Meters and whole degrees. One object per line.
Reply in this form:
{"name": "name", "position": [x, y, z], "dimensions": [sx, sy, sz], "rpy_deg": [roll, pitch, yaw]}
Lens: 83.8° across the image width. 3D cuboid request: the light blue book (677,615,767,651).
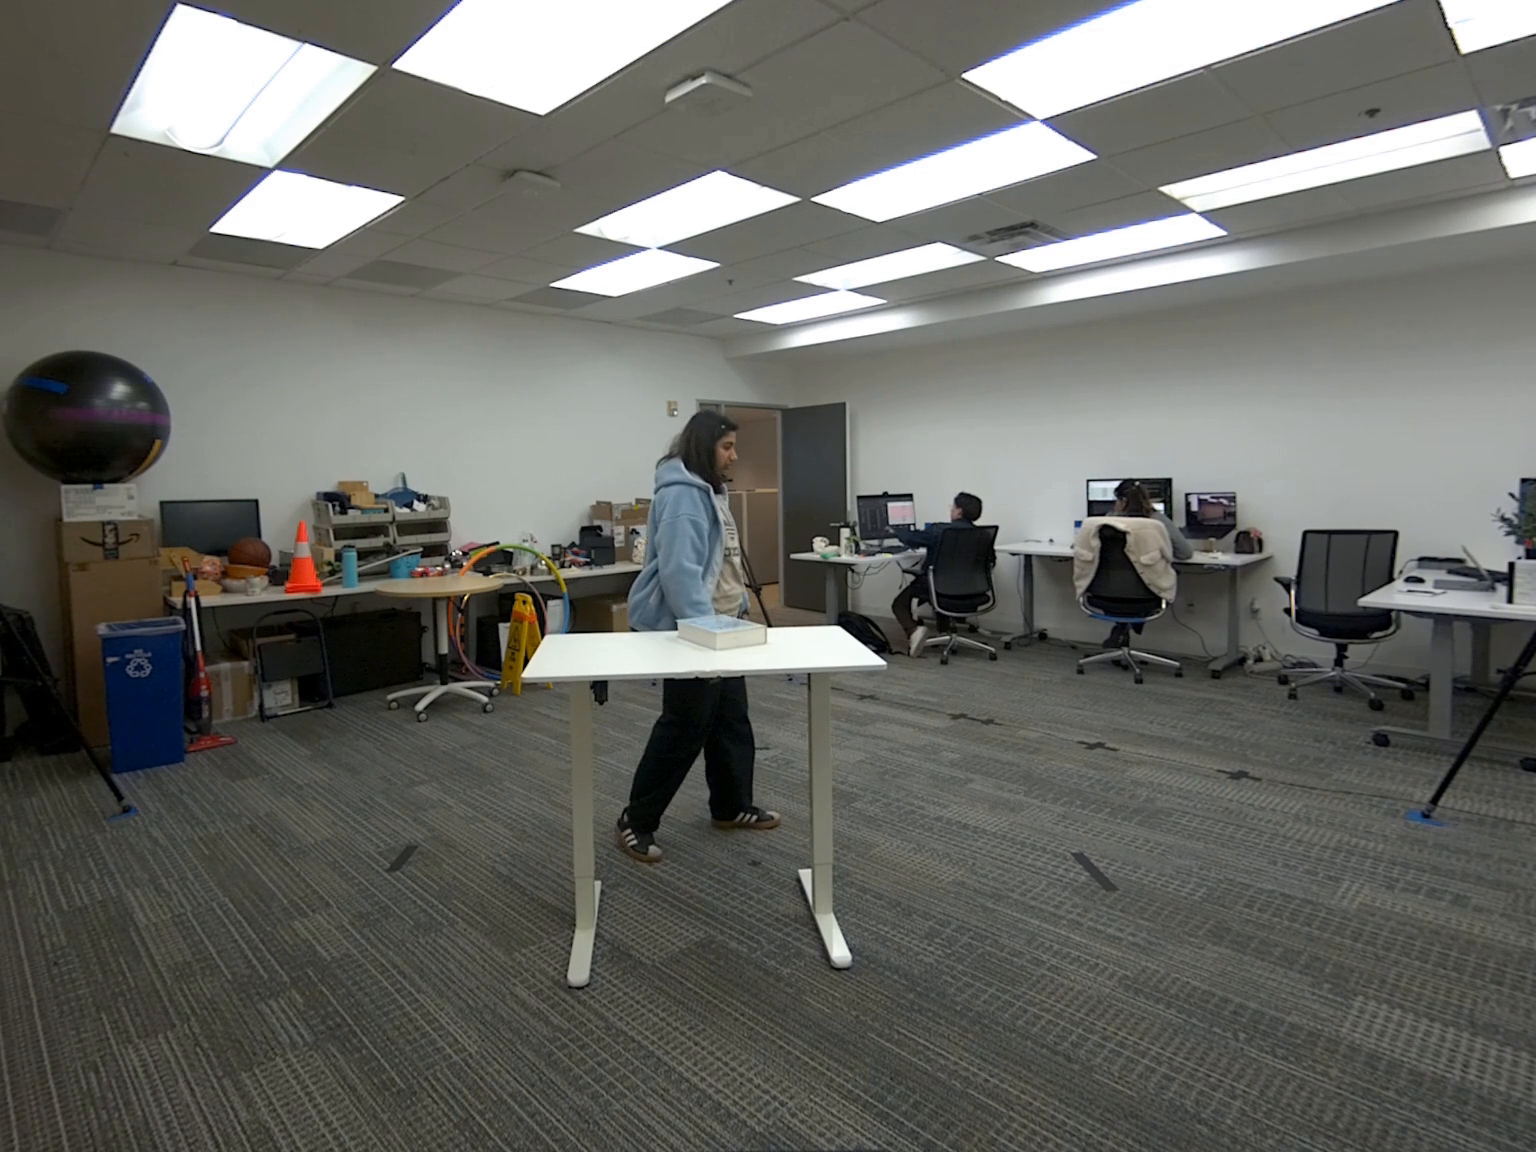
{"name": "light blue book", "position": [-0.142, 0.181, 2.731], "dimensions": [0.187, 0.059, 0.268], "rpy_deg": [-5, 8, -32]}
